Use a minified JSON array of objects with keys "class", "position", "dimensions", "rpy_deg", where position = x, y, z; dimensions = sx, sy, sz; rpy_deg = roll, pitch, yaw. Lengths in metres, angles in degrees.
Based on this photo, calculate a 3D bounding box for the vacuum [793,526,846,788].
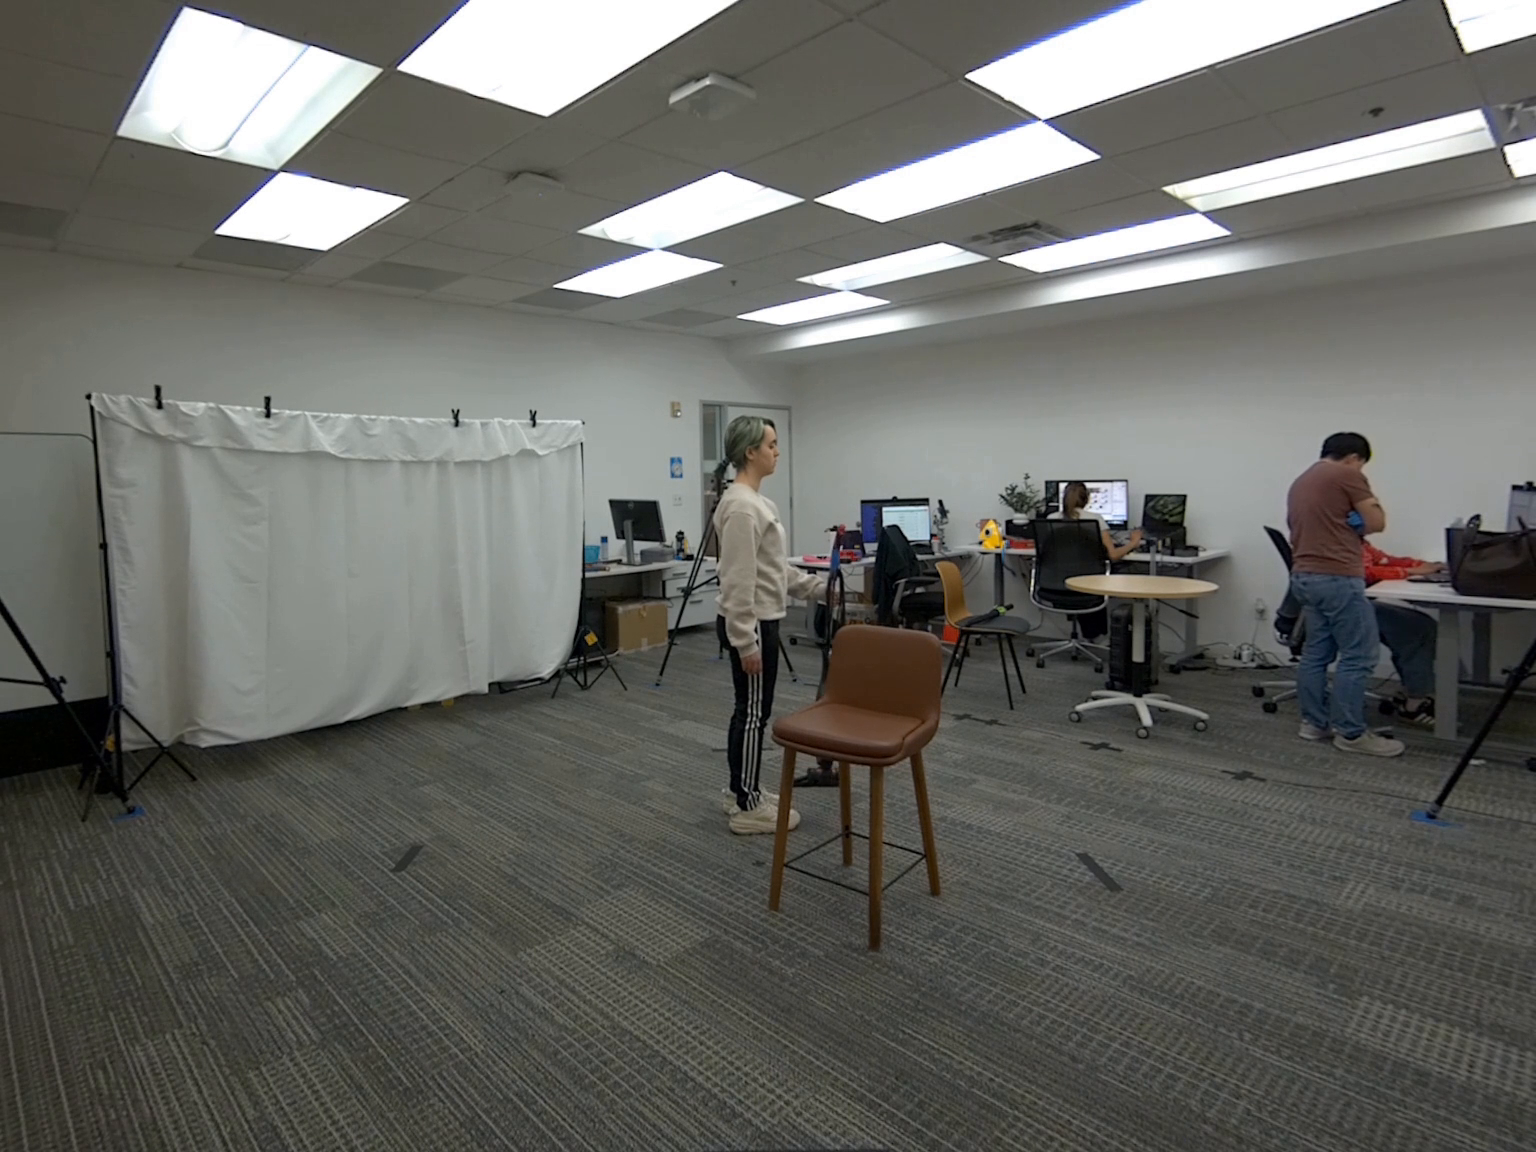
[{"class":"vacuum","position":[0.256,0.320,3.489],"dimensions":[0.249,1.045,0.146],"rpy_deg":[3,5,-13]}]
